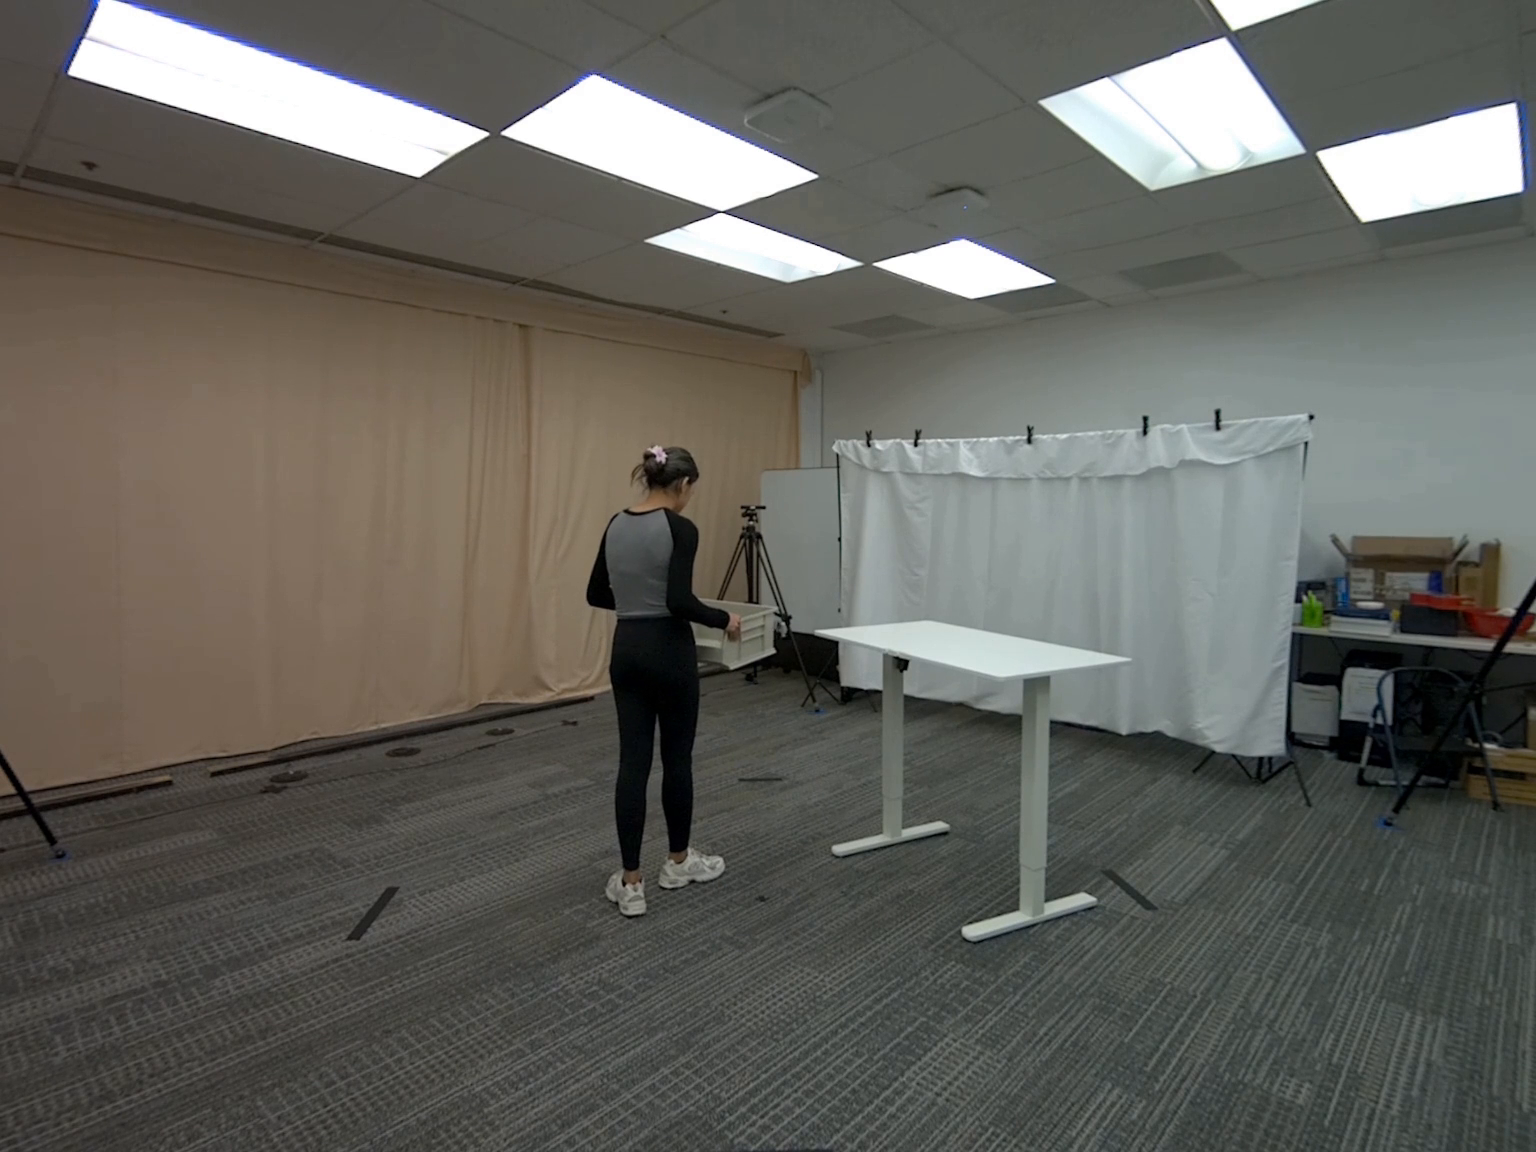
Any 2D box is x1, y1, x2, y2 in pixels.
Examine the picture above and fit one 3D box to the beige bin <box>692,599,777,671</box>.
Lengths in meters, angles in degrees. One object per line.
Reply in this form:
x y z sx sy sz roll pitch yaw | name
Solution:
-0.231 0.217 3.278 0.436 0.188 0.367 3 8 35 | beige bin
